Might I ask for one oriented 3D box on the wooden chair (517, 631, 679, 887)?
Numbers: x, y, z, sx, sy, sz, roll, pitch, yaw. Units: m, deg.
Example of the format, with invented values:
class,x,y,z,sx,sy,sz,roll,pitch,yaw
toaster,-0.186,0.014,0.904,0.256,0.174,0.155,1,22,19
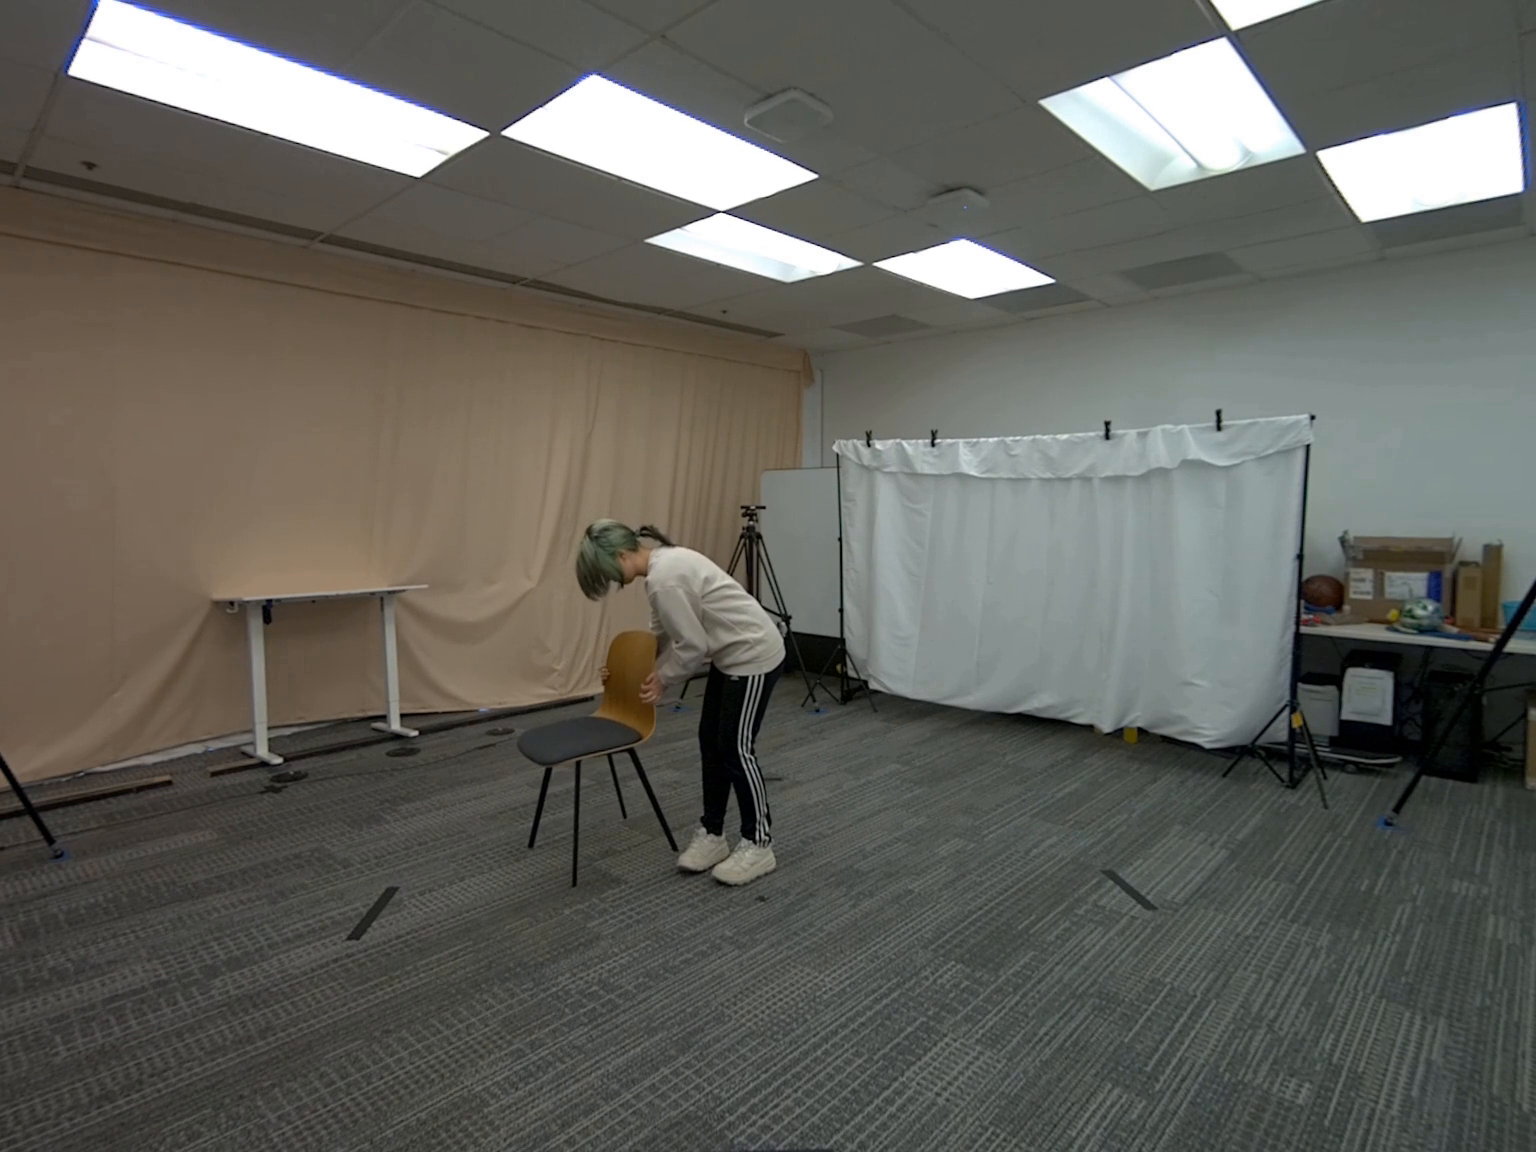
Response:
class,x,y,z,sx,sy,sz,roll,pitch,yaw
wooden chair,-0.703,0.681,3.343,0.508,0.875,0.493,-3,4,-36
